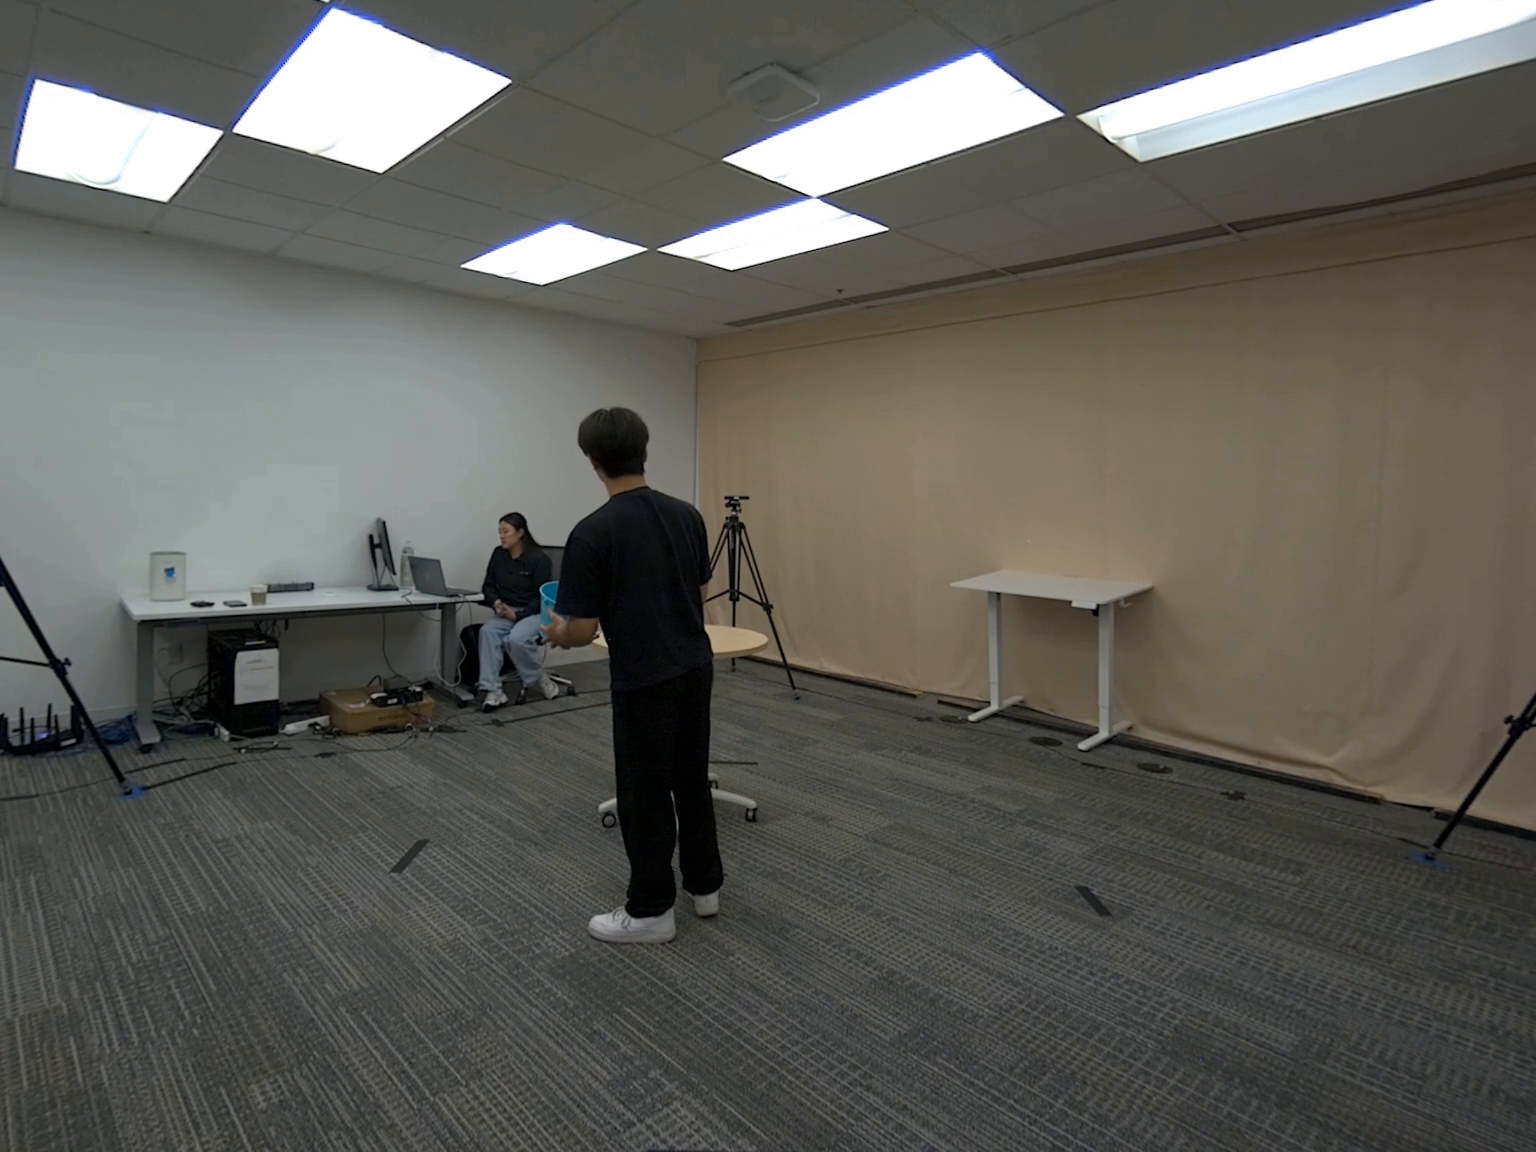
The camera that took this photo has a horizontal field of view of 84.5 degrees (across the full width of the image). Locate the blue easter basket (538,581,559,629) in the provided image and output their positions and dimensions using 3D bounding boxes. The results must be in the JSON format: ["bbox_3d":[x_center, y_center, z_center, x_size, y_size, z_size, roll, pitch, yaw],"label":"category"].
[{"bbox_3d":[-0.677,0.136,2.822,0.243,0.155,0.246,9,12,-3],"label":"blue easter basket"}]
